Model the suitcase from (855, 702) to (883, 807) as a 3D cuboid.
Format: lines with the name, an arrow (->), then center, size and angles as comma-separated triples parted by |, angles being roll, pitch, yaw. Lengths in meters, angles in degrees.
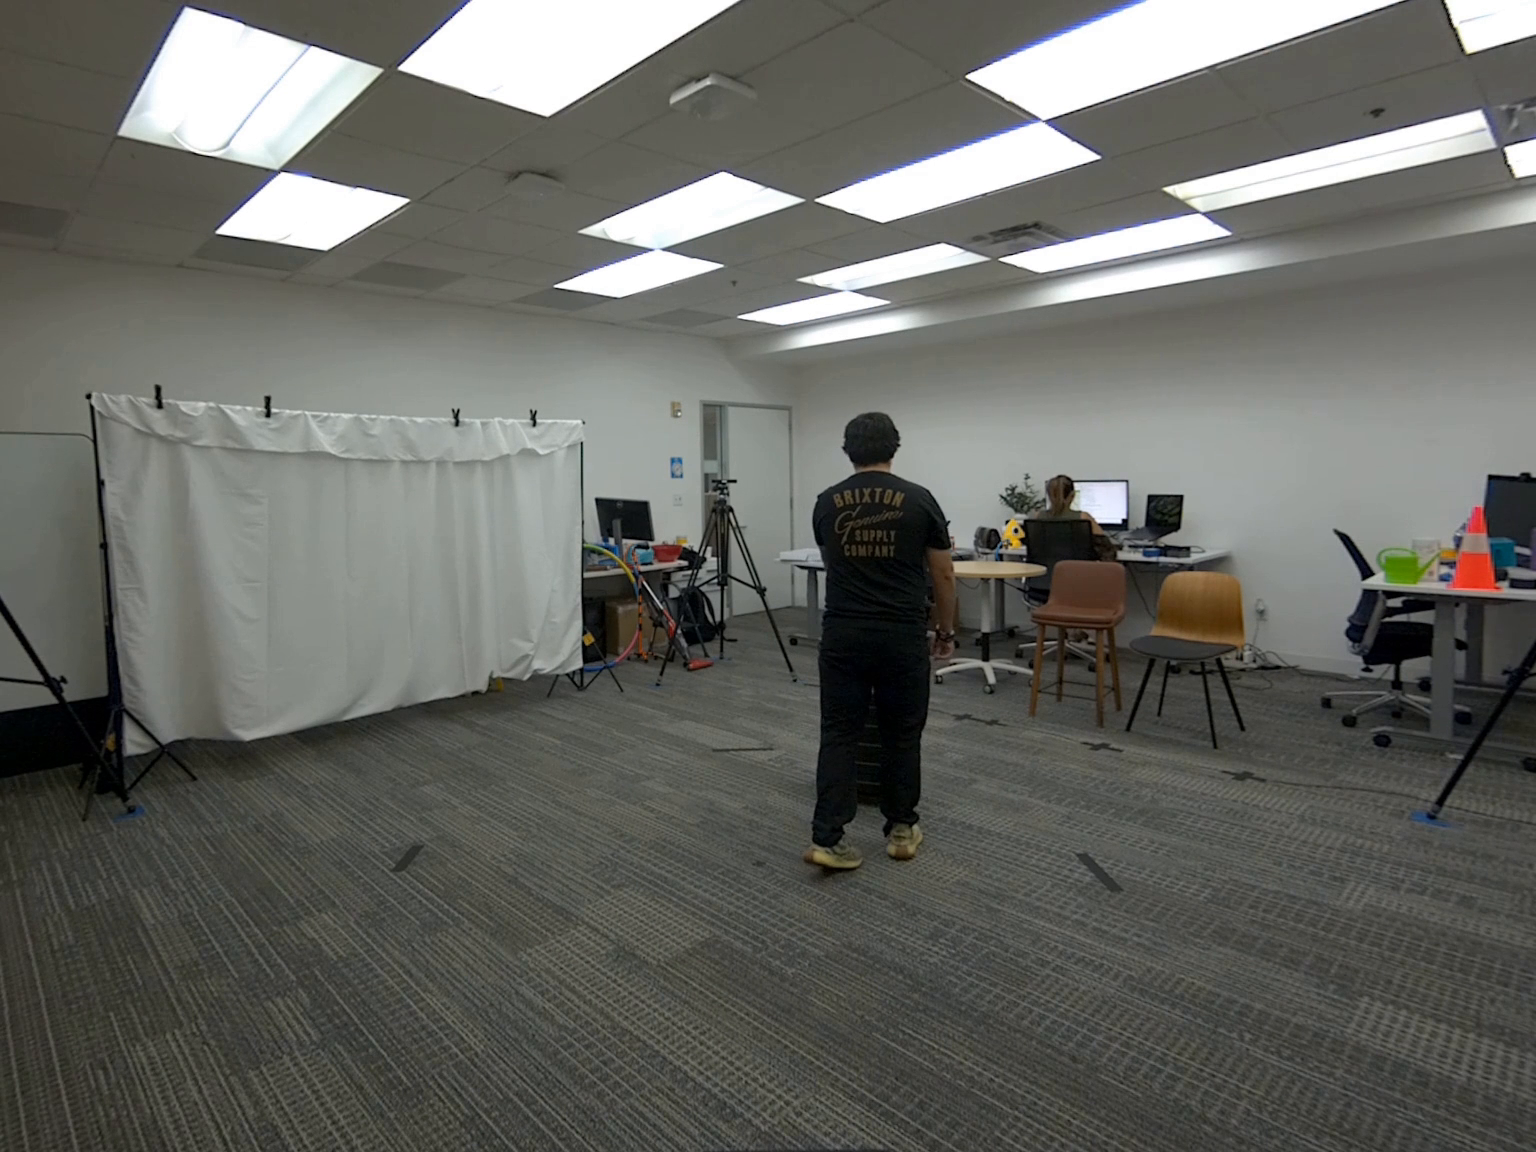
suitcase -> 0.435, 0.493, 3.744 | 0.392, 0.979, 0.251 | 0, -1, 23
